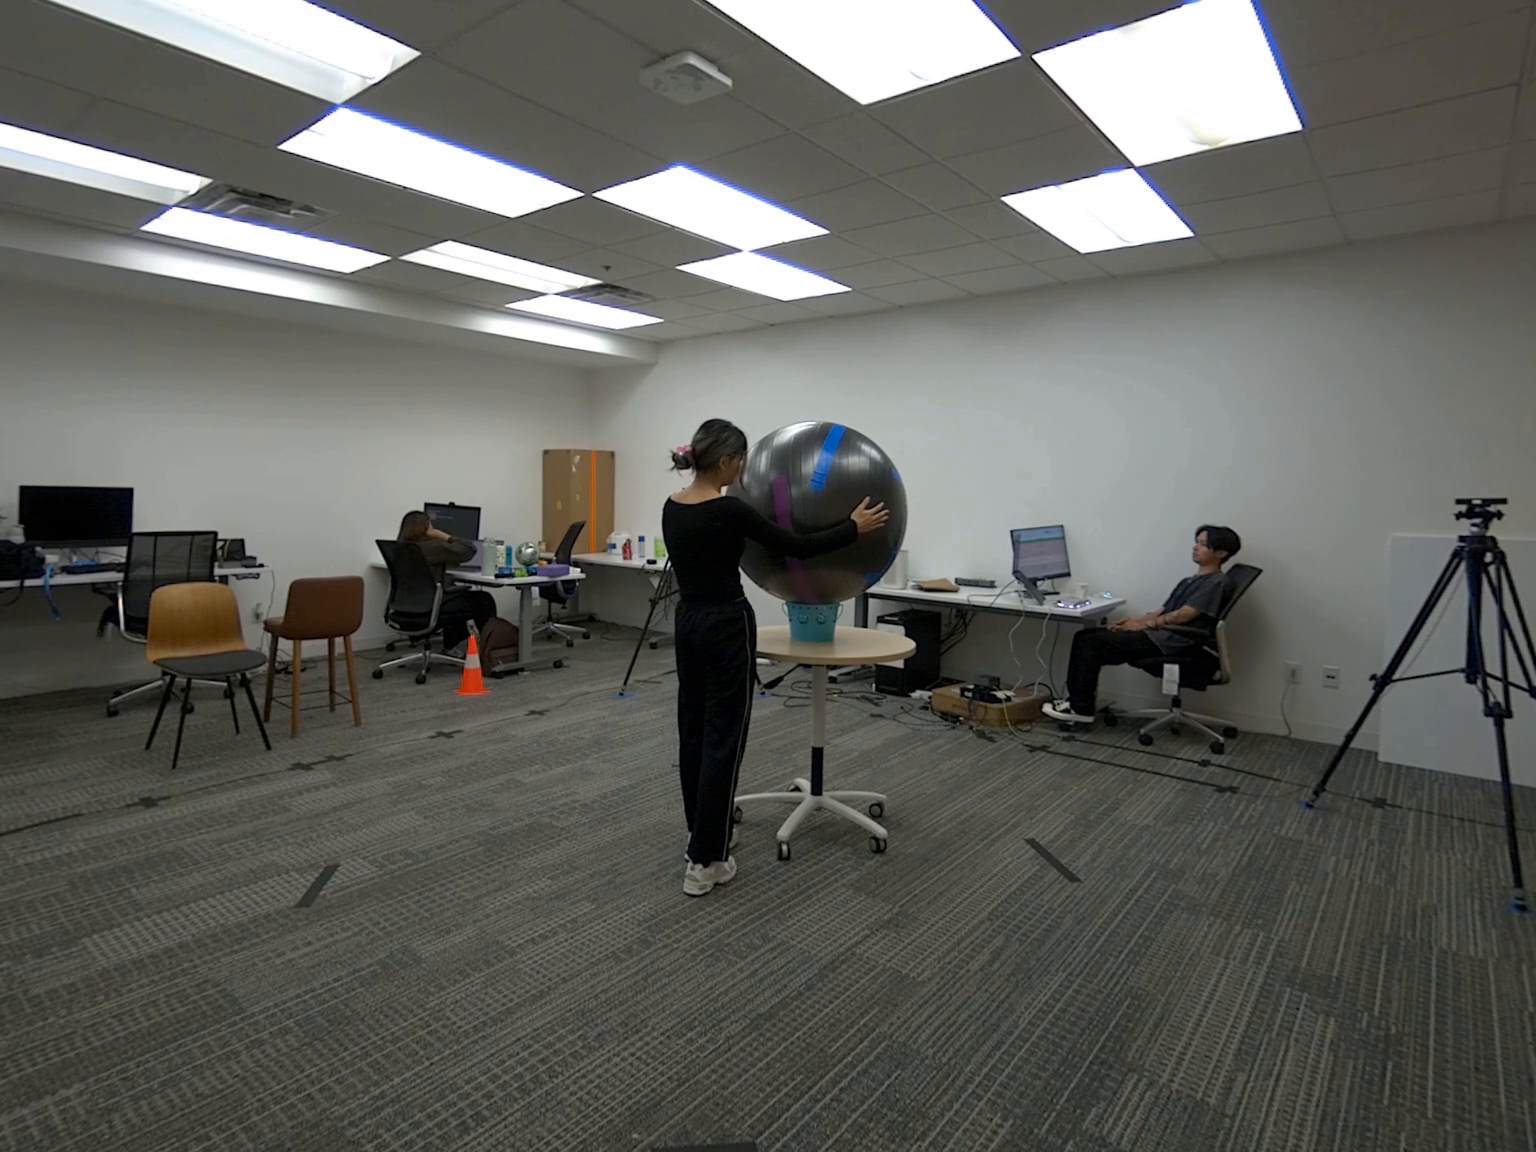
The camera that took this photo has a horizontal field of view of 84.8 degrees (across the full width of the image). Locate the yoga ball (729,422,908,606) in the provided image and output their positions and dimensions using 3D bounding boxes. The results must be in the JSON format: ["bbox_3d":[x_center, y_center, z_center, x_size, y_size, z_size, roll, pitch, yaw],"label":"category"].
[{"bbox_3d":[0.191,-0.254,3.518,0.757,0.756,0.762,1,4,-2],"label":"yoga ball"}]
